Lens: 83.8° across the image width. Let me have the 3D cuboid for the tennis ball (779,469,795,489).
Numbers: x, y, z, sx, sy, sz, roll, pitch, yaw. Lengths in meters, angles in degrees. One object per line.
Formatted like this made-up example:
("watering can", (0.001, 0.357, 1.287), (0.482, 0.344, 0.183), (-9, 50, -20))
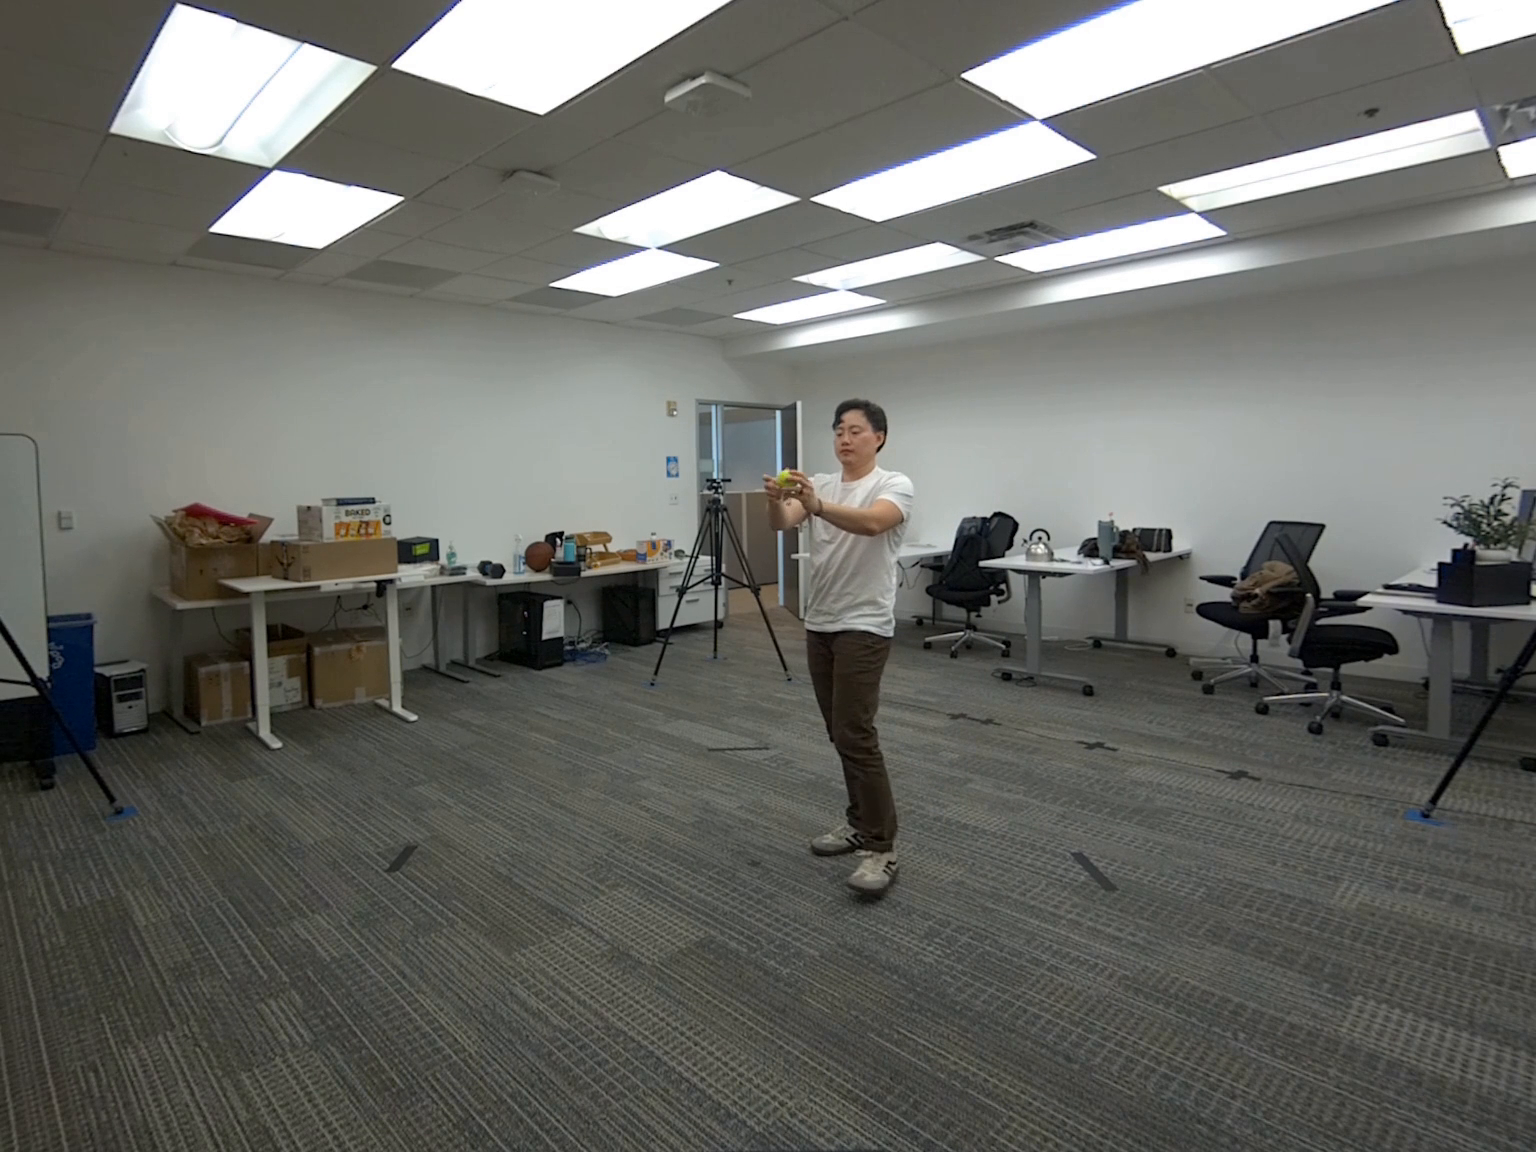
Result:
("tennis ball", (0.099, -0.306, 2.730), (0.066, 0.066, 0.067), (-1, 5, -2))
